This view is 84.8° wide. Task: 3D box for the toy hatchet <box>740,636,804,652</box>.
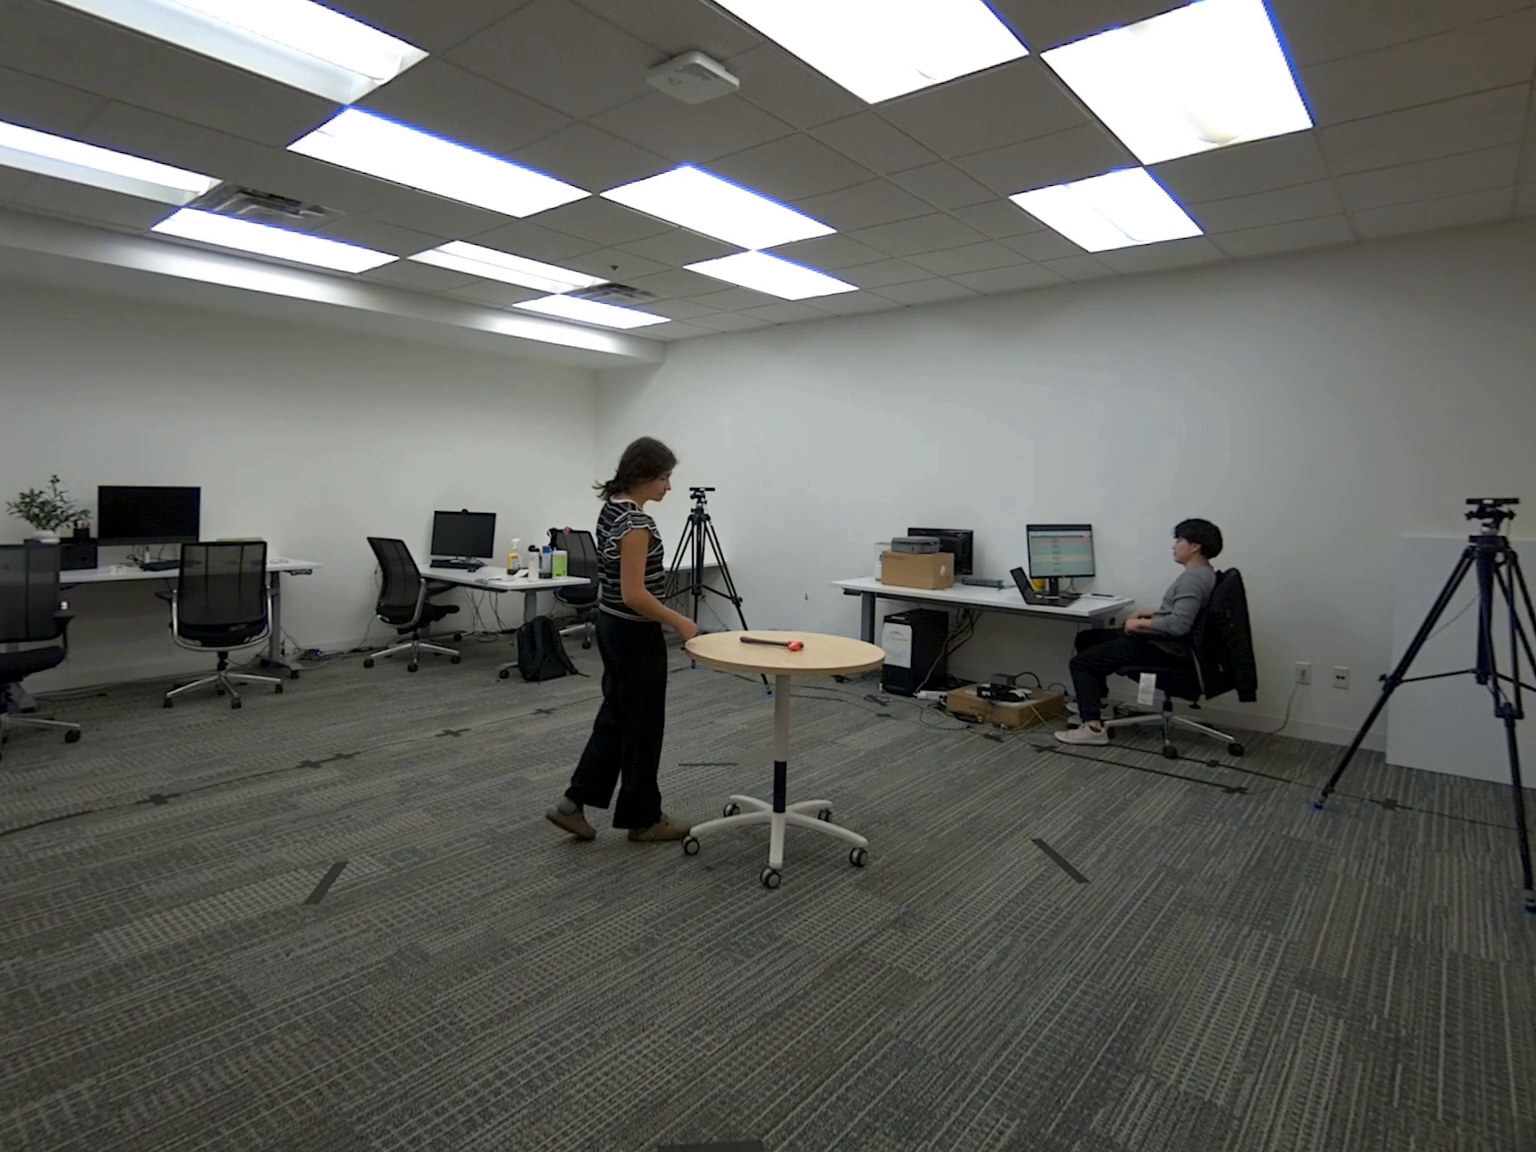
[{"bbox_3d":[0.019,0.256,3.325,0.279,0.029,0.127,5,5,43],"label":"toy hatchet"}]
